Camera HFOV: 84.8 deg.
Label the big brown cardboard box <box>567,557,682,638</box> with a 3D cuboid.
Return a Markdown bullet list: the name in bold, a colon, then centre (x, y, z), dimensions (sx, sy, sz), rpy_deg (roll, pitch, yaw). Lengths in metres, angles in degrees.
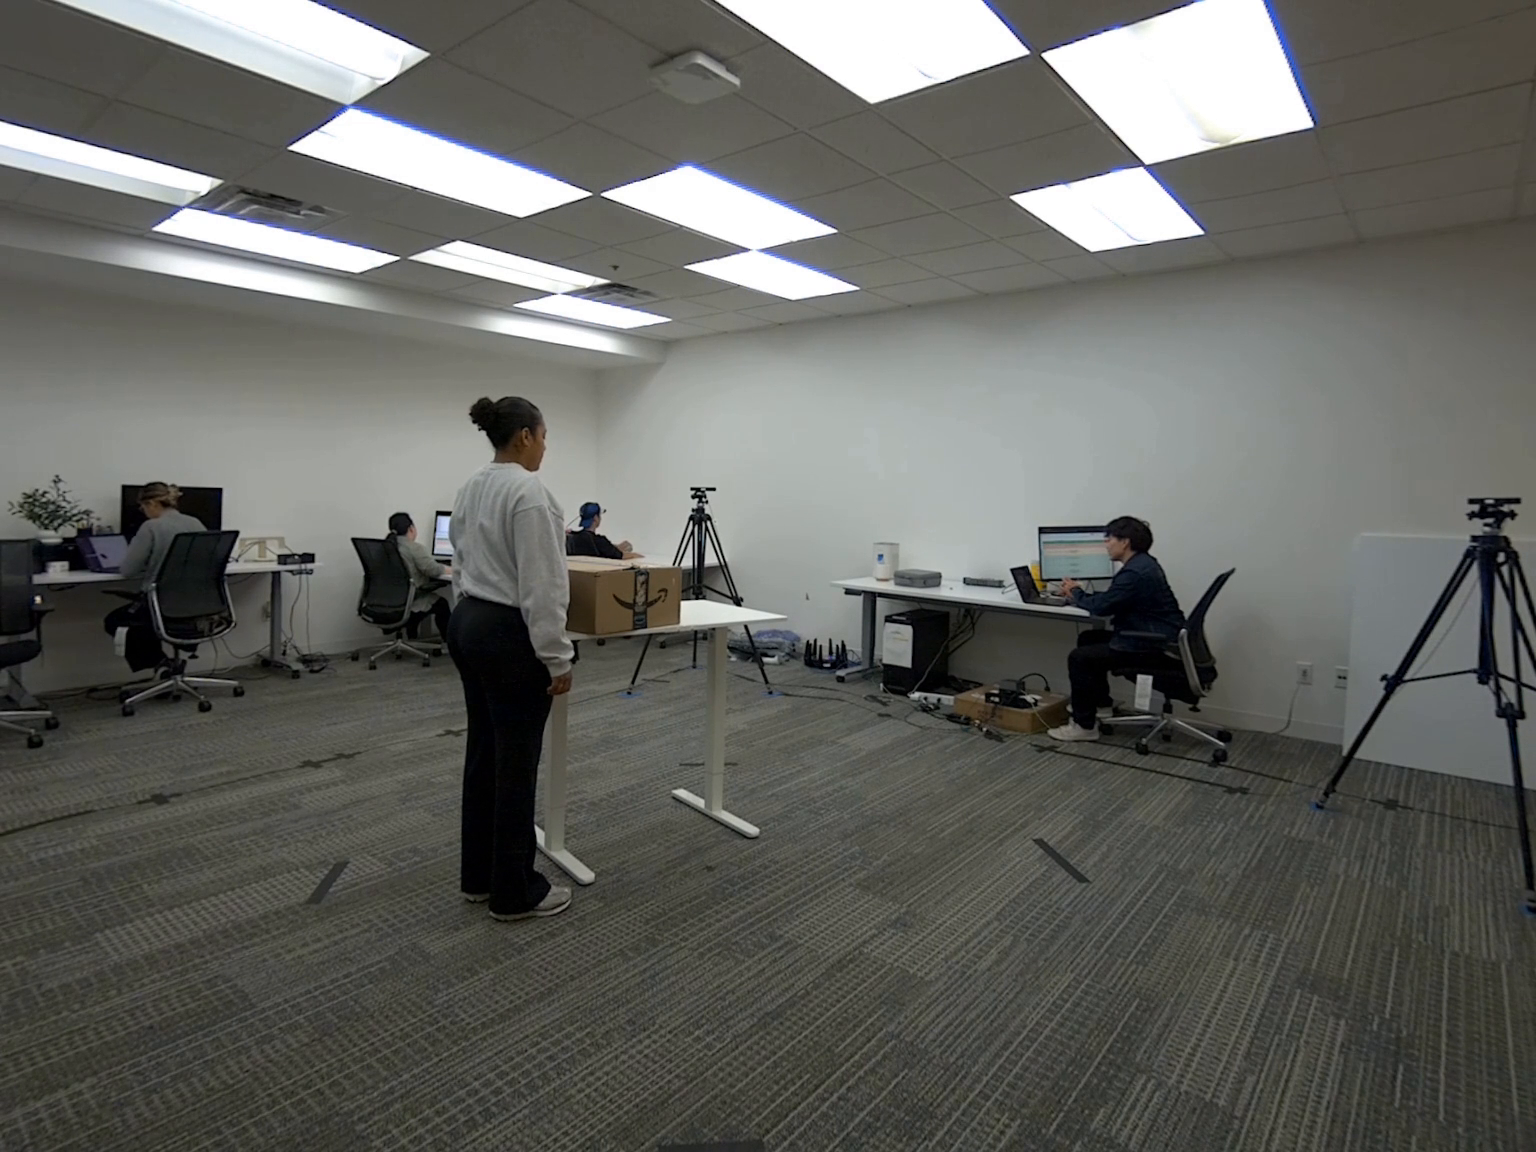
- **big brown cardboard box**: centre (-0.681, 0.059, 3.179), dimensions (0.608, 0.232, 0.405), rpy_deg (4, 6, 40)
